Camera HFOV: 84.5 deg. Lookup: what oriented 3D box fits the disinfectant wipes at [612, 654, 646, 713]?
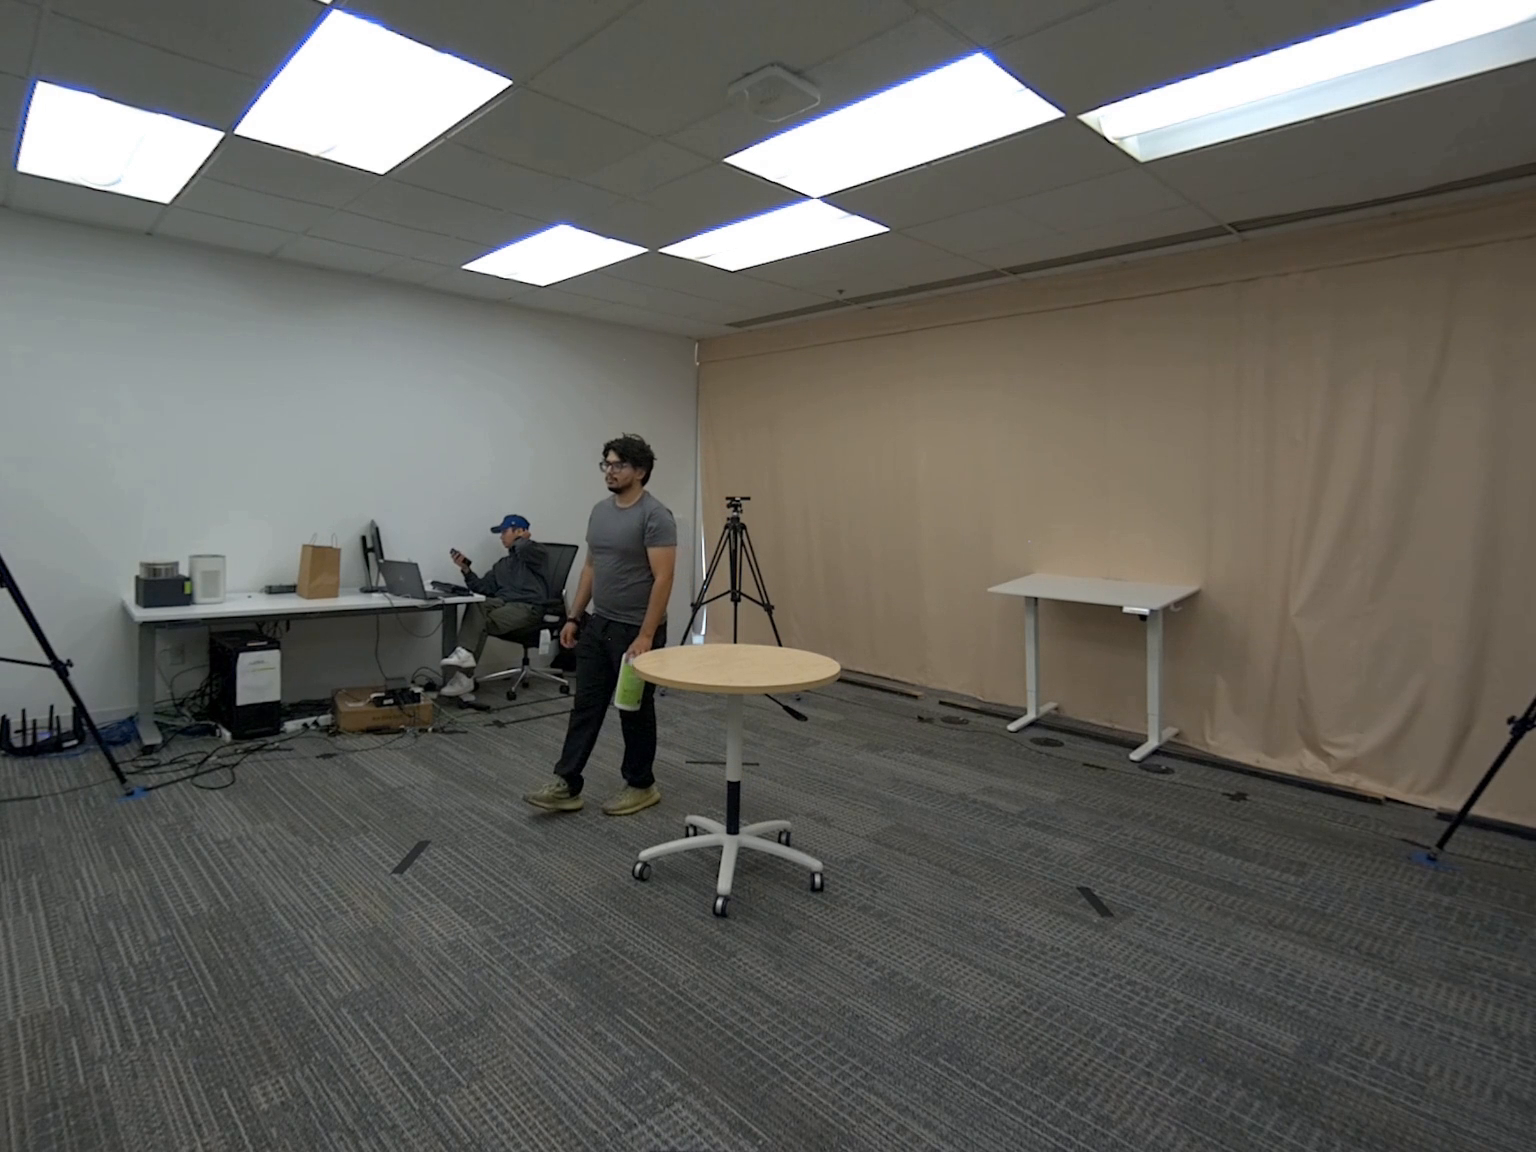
[{"bbox_3d":[-0.570,0.431,3.444,0.117,0.216,0.118,9,7,-3],"label":"disinfectant wipes"}]
